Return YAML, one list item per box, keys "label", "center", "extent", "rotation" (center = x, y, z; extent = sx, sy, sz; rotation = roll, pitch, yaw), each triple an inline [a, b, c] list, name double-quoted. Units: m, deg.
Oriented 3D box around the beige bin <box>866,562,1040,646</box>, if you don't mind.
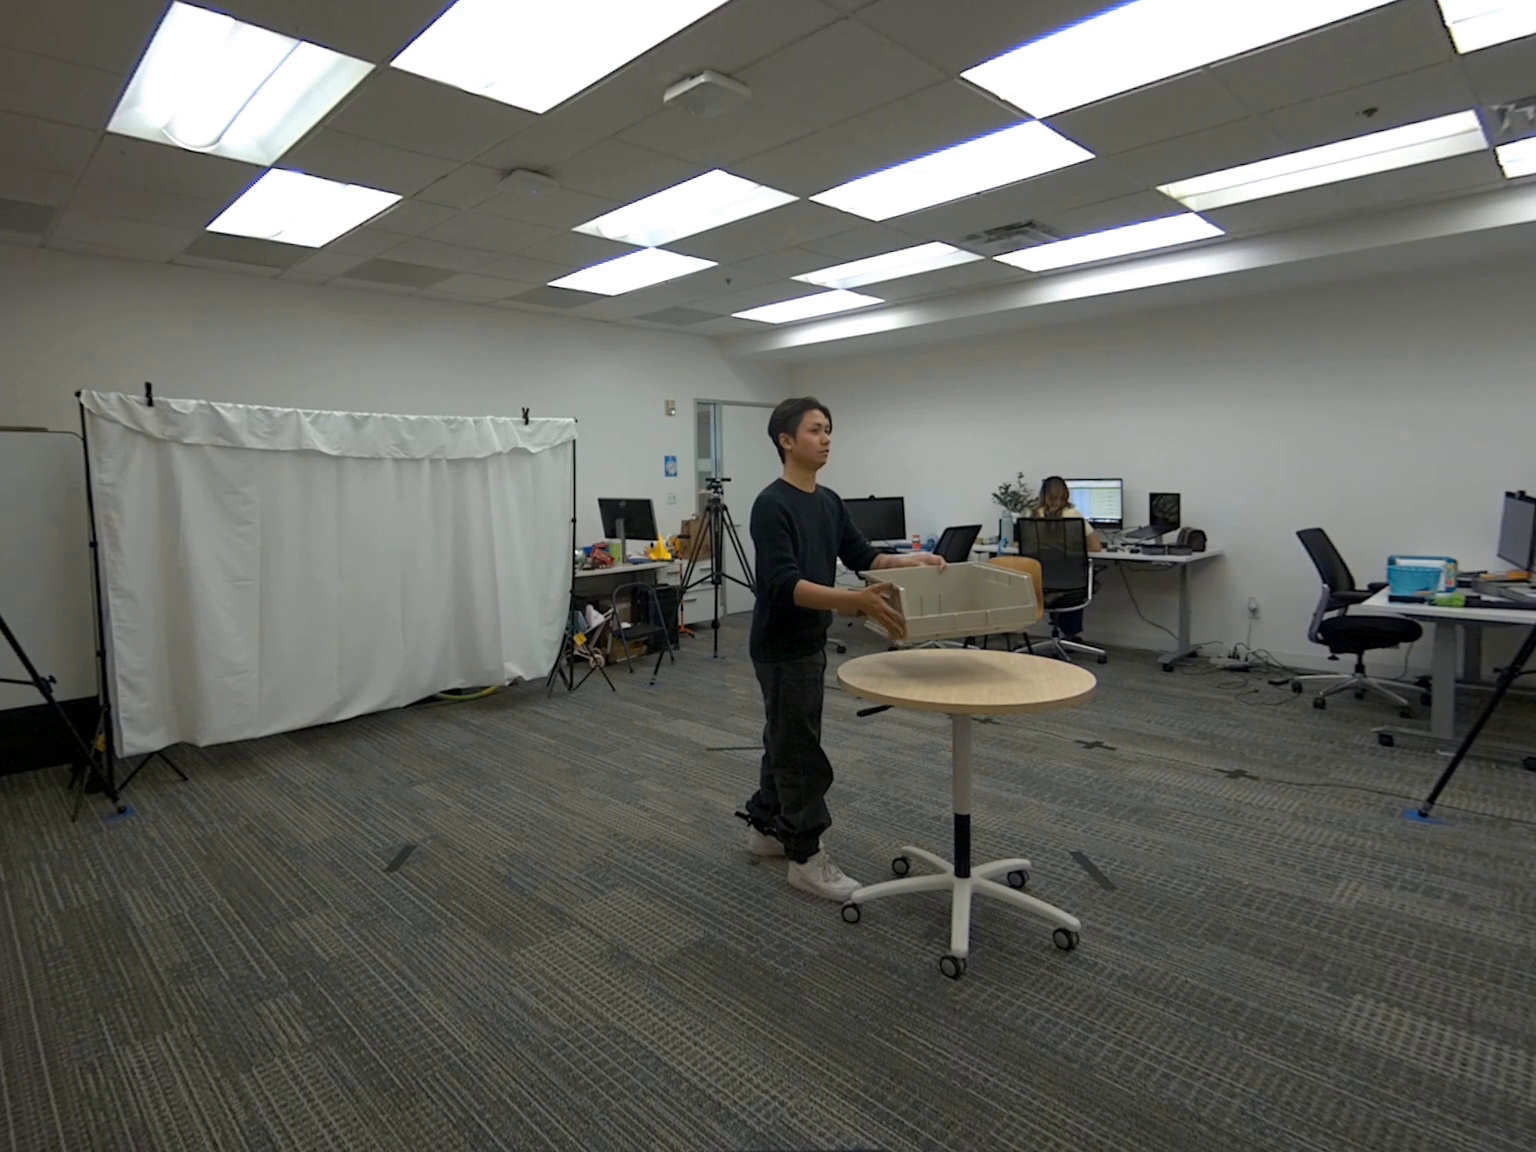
- label: "beige bin"
  center: [0.550, 0.082, 2.672]
  extent: [0.419, 0.188, 0.382]
  rotation: [-5, 5, -10]
